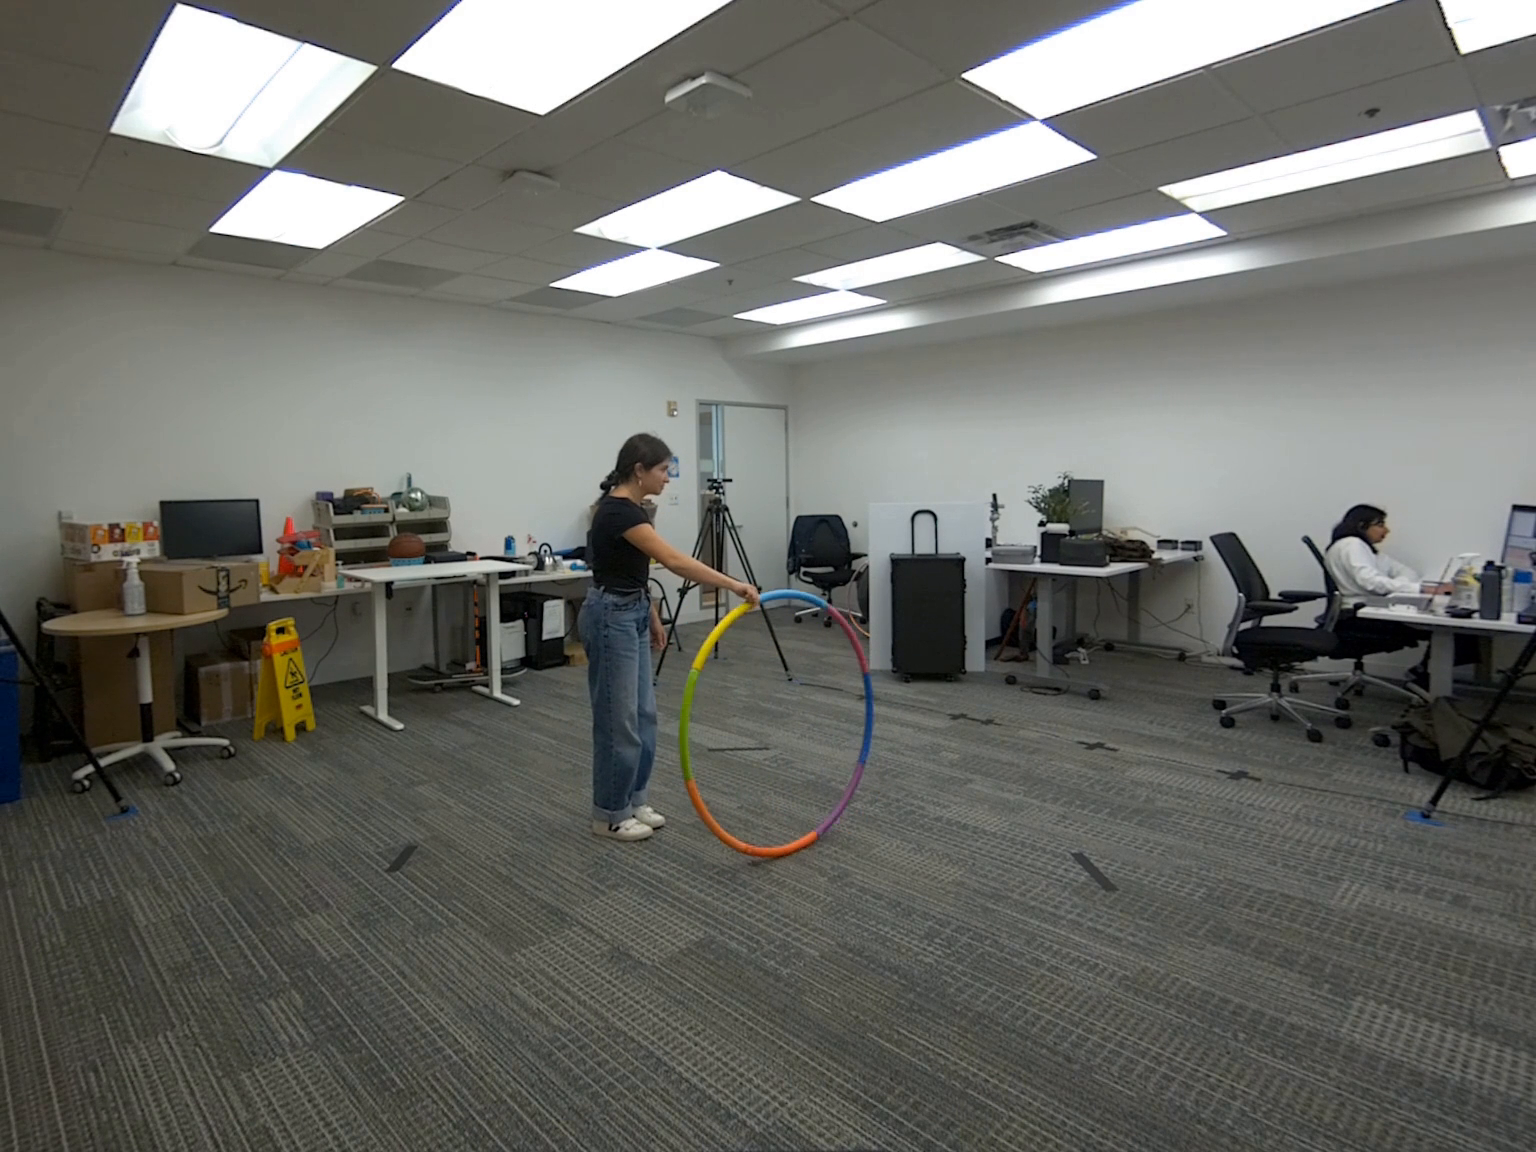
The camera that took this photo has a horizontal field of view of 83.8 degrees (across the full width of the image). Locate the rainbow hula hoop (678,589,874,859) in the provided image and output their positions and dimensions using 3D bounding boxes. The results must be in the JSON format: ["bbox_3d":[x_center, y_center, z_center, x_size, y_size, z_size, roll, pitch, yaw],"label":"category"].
[{"bbox_3d":[0.063,0.548,3.211,0.953,0.979,0.036,-5,0,-41],"label":"rainbow hula hoop"}]
